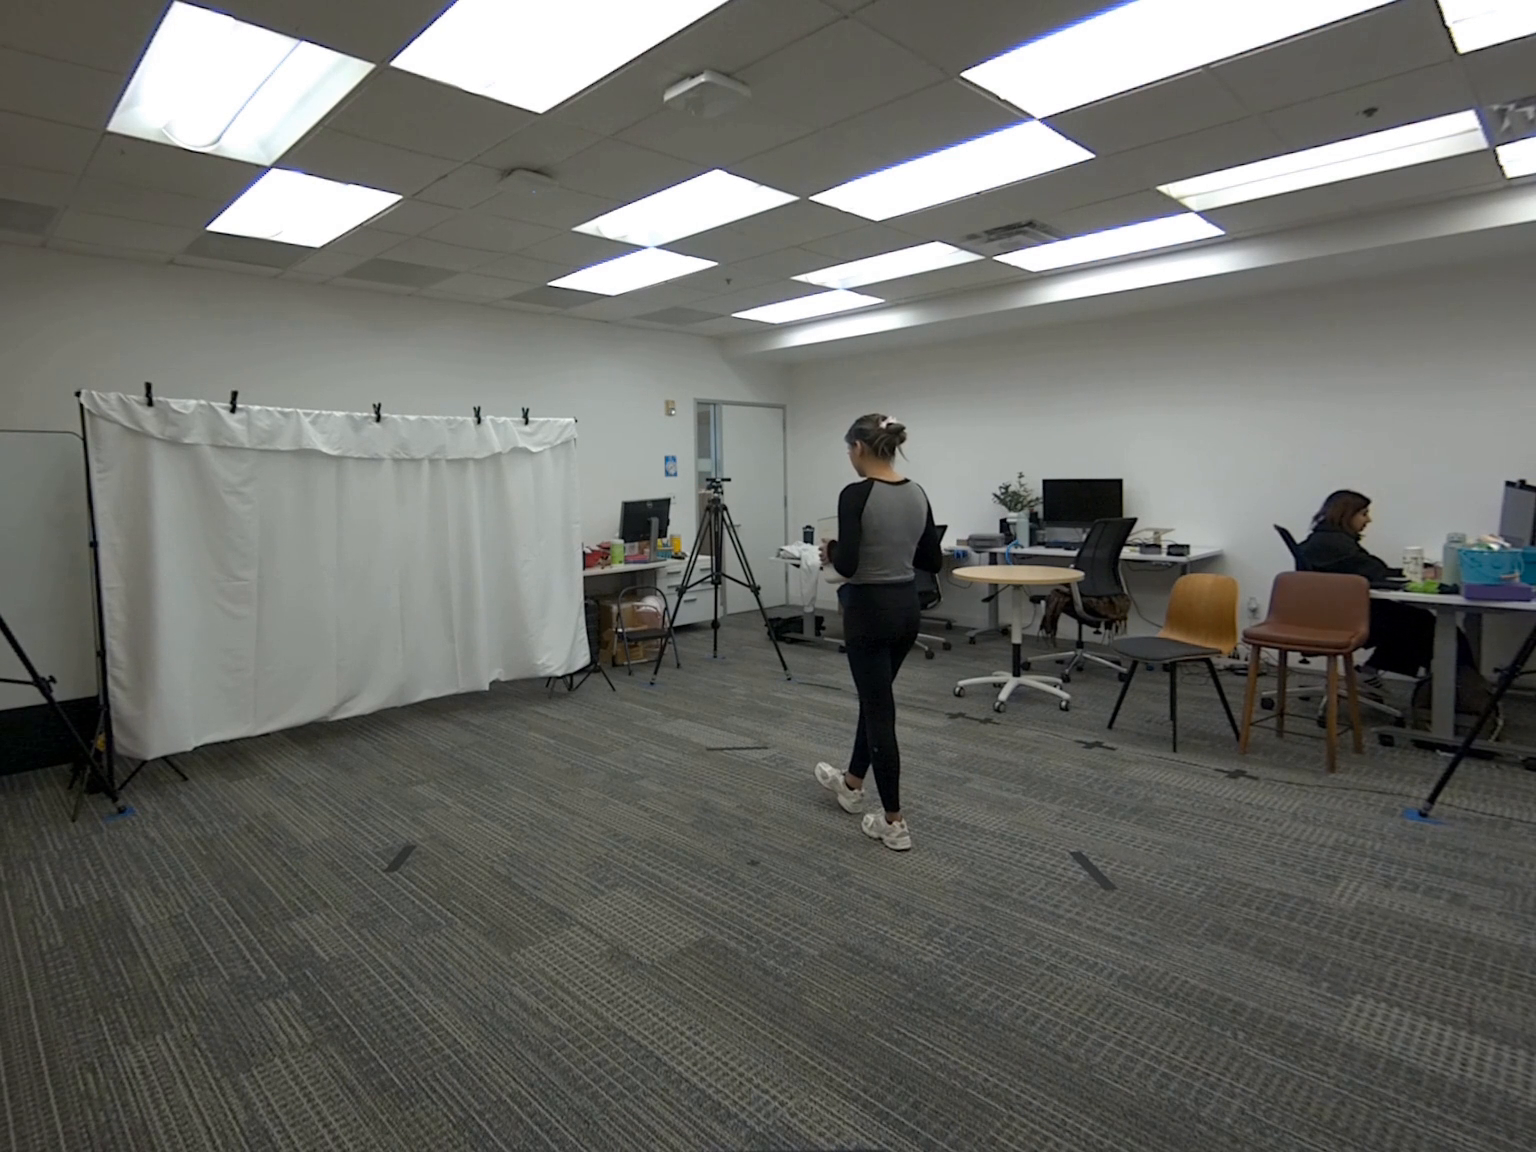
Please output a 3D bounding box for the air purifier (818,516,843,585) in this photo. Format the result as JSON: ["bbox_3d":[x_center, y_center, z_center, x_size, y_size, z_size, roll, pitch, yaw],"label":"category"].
[{"bbox_3d":[0.331,-0.111,3.447,0.168,0.266,0.174,-4,-2,-24],"label":"air purifier"}]
